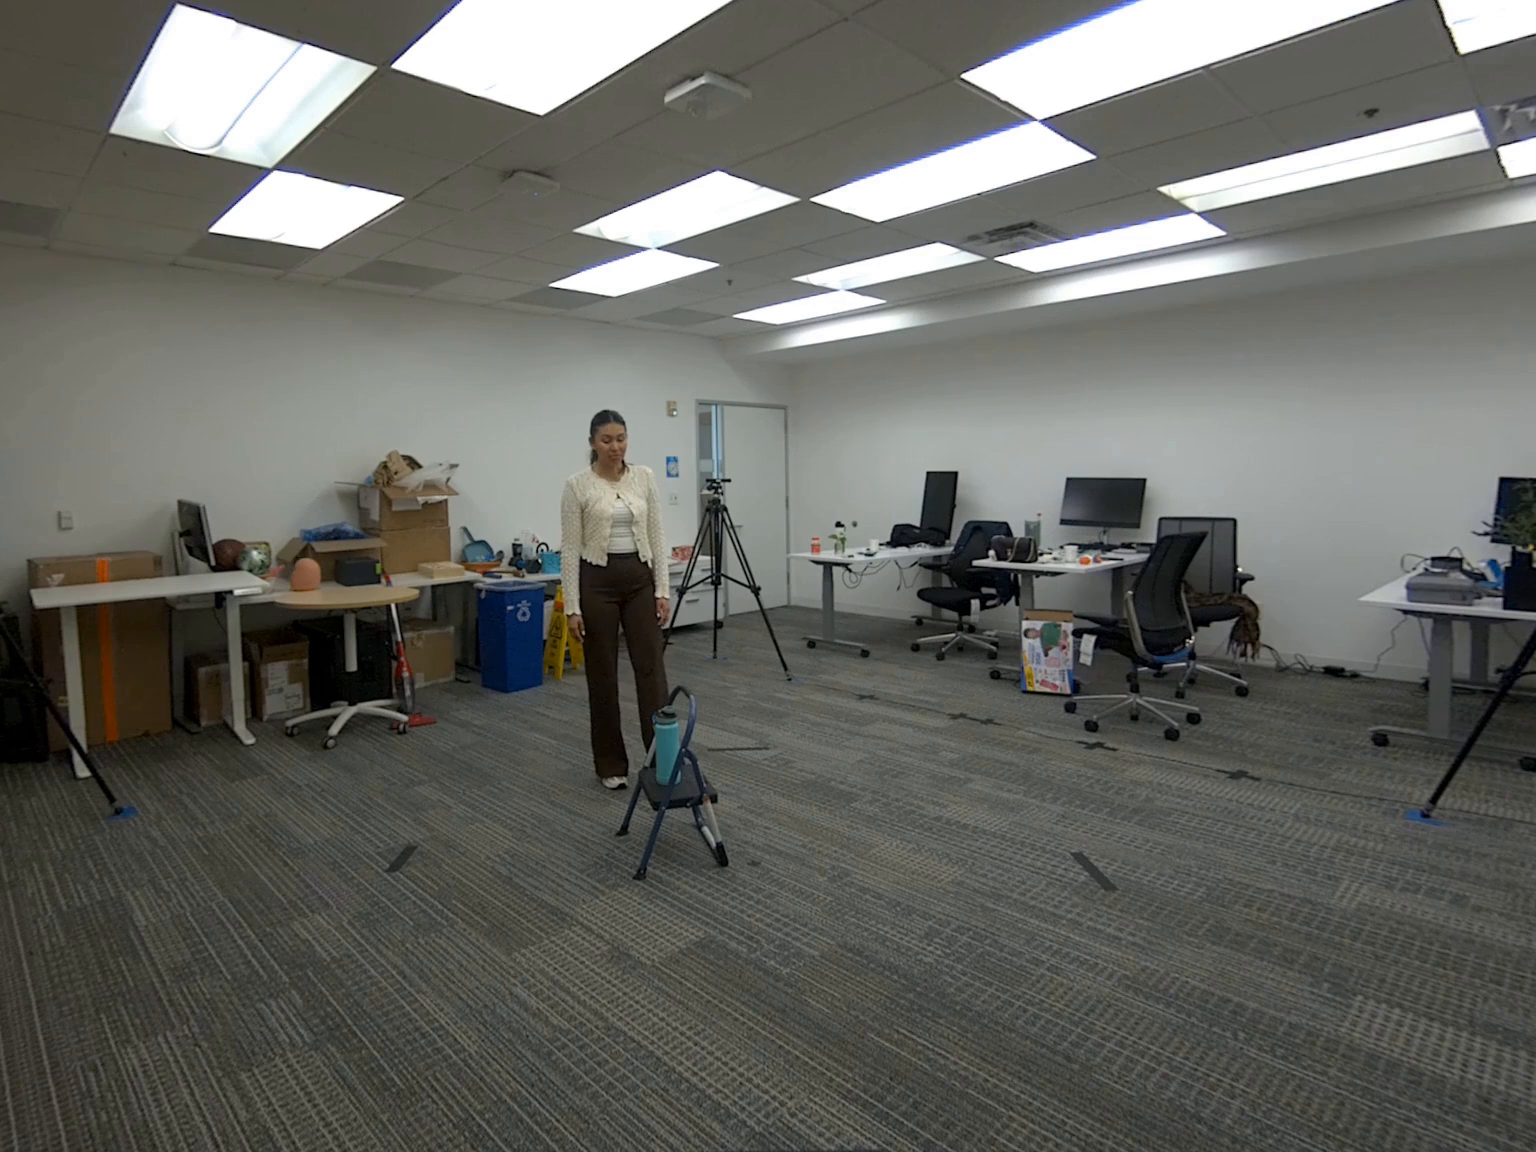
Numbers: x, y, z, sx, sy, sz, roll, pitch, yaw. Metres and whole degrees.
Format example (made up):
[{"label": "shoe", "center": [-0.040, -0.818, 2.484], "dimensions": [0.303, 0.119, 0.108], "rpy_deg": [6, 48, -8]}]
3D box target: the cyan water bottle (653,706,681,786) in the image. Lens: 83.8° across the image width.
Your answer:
[{"label": "cyan water bottle", "center": [-0.378, 0.634, 3.214], "dimensions": [0.092, 0.282, 0.093], "rpy_deg": [-3, 4, -1]}]
